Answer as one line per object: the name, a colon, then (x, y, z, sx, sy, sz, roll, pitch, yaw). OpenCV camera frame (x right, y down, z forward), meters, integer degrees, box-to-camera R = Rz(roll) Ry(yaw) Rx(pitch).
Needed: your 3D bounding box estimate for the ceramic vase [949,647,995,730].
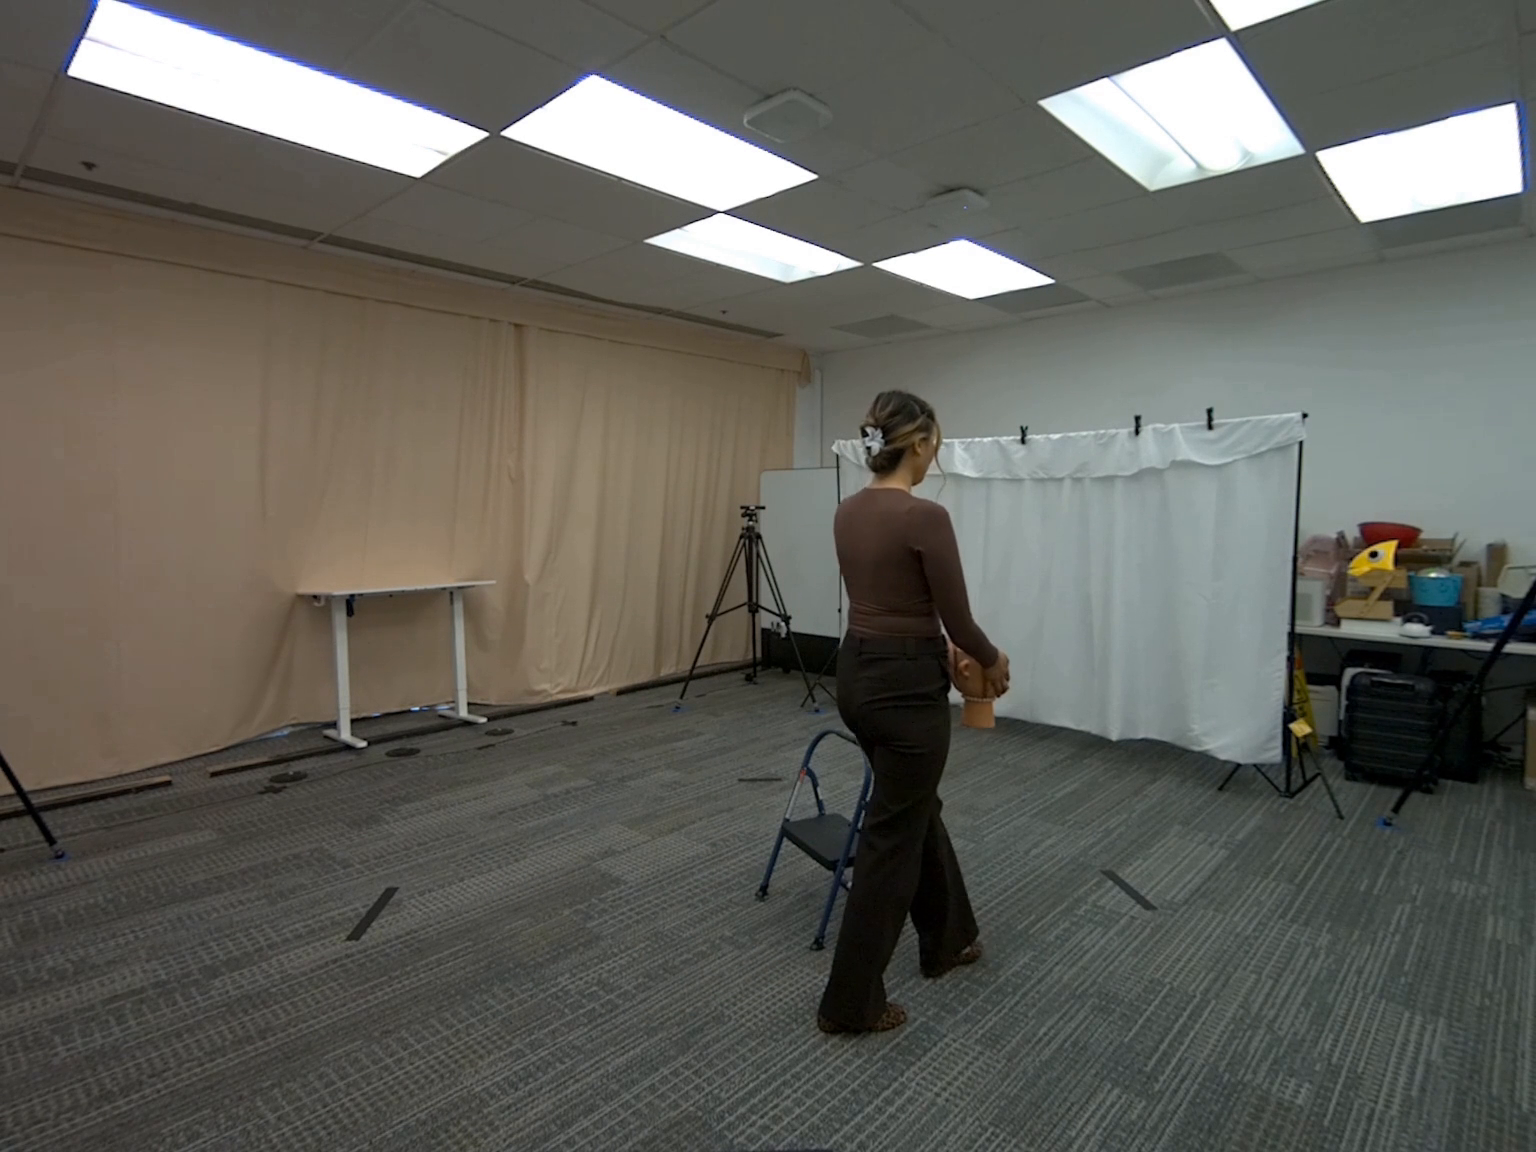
ceramic vase: (0.633, 0.327, 2.471, 0.159, 0.219, 0.135, 2, 5, -1)
